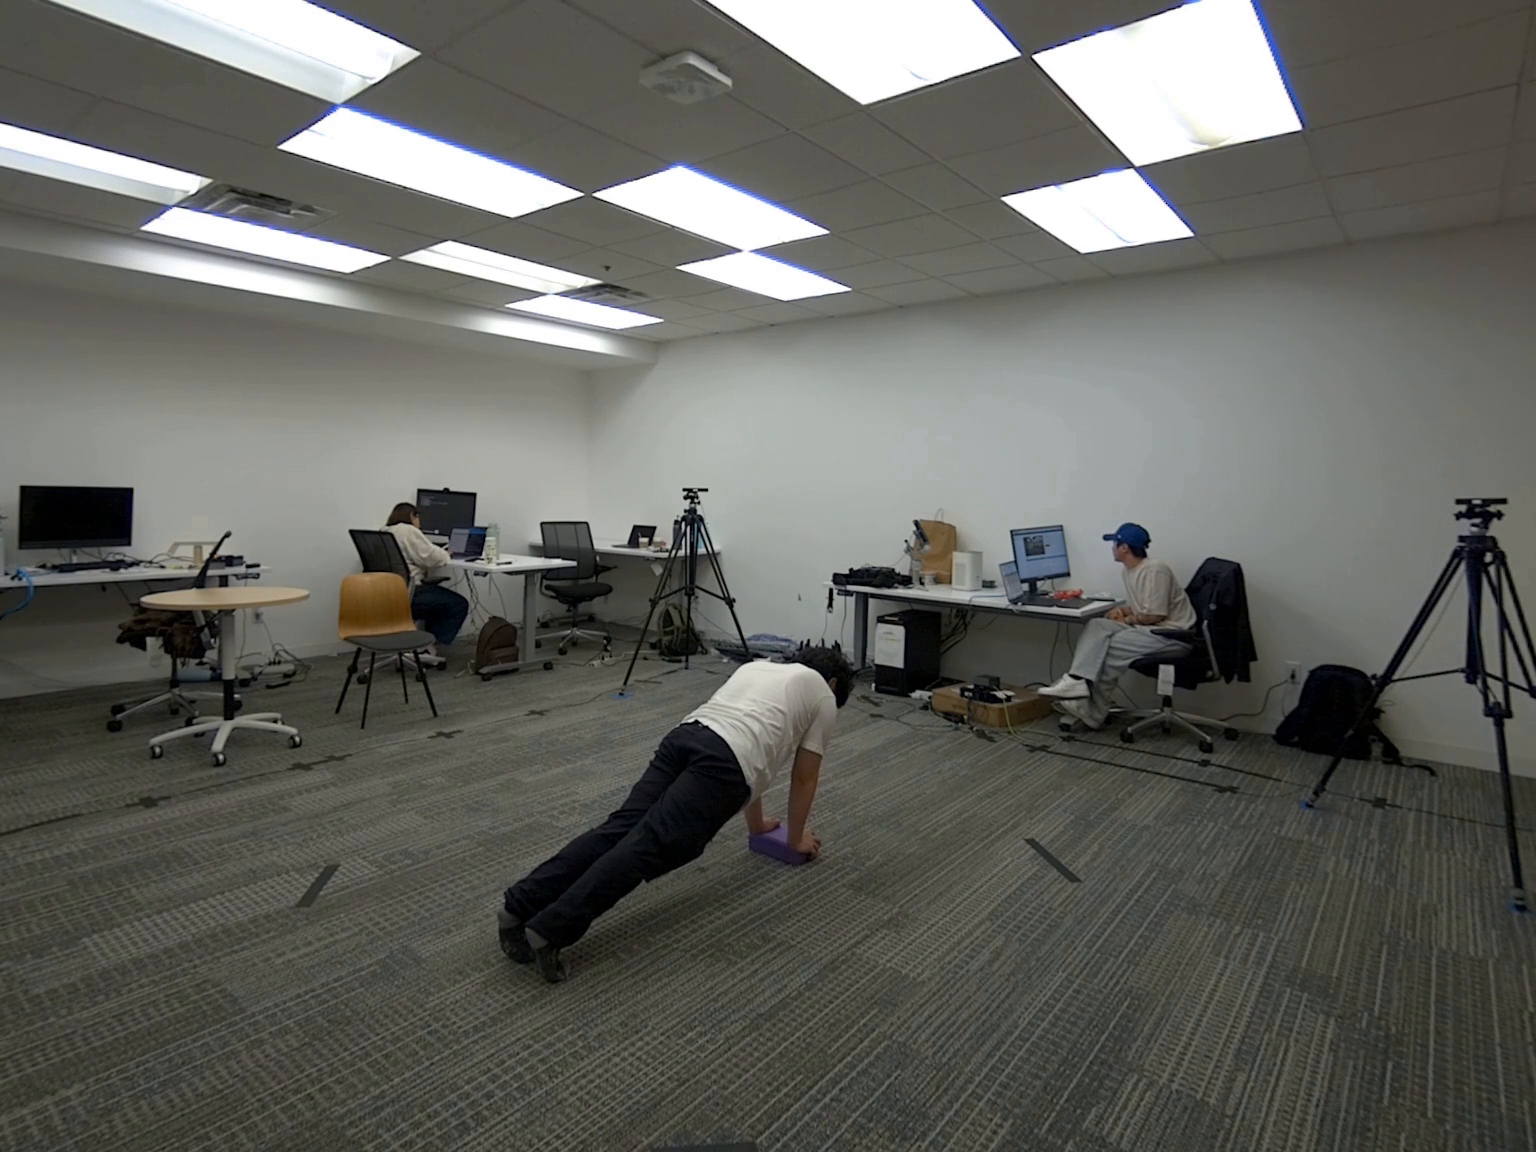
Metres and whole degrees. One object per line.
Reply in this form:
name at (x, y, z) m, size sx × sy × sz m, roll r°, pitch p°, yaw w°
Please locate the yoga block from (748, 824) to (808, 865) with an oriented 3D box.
yoga block at (0.047, 1.024, 3.279) m, size 0.237 × 0.076 × 0.145 m, roll 5°, pitch 7°, yaw 38°
